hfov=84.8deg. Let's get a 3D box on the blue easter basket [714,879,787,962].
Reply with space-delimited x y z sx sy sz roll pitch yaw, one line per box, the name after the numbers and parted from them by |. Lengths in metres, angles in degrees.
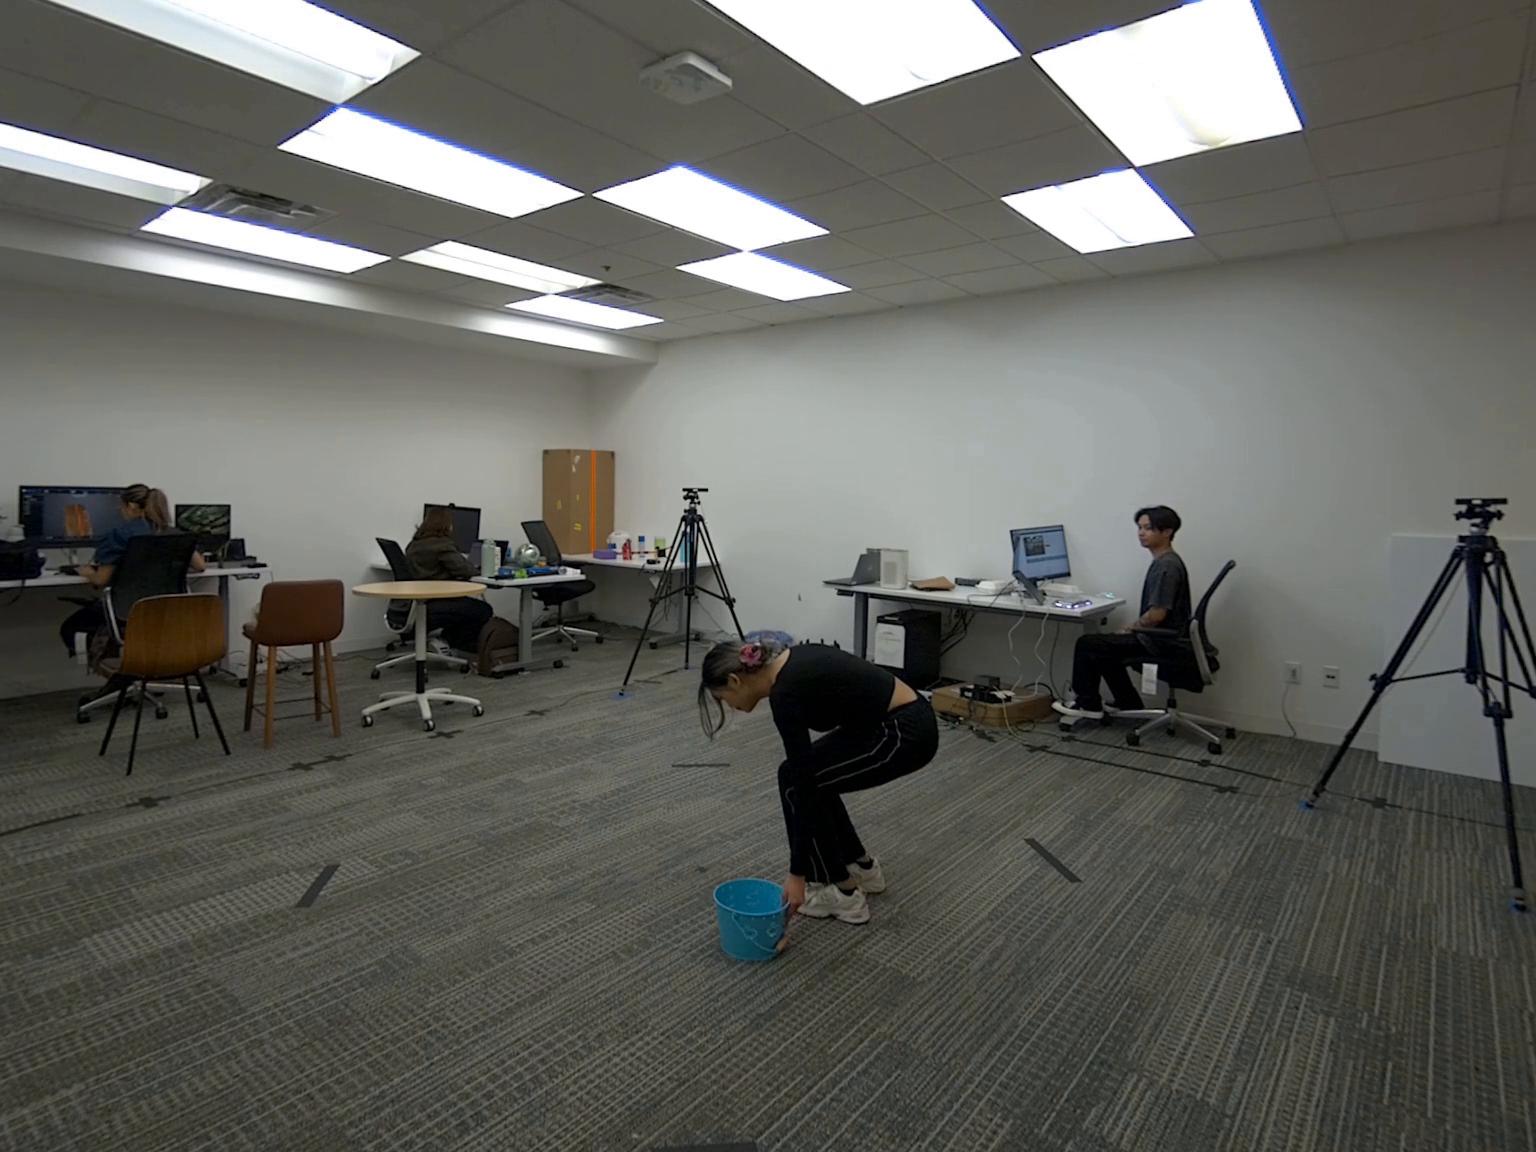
-0.053 1.043 2.589 0.243 0.155 0.245 1 4 -2 | blue easter basket
